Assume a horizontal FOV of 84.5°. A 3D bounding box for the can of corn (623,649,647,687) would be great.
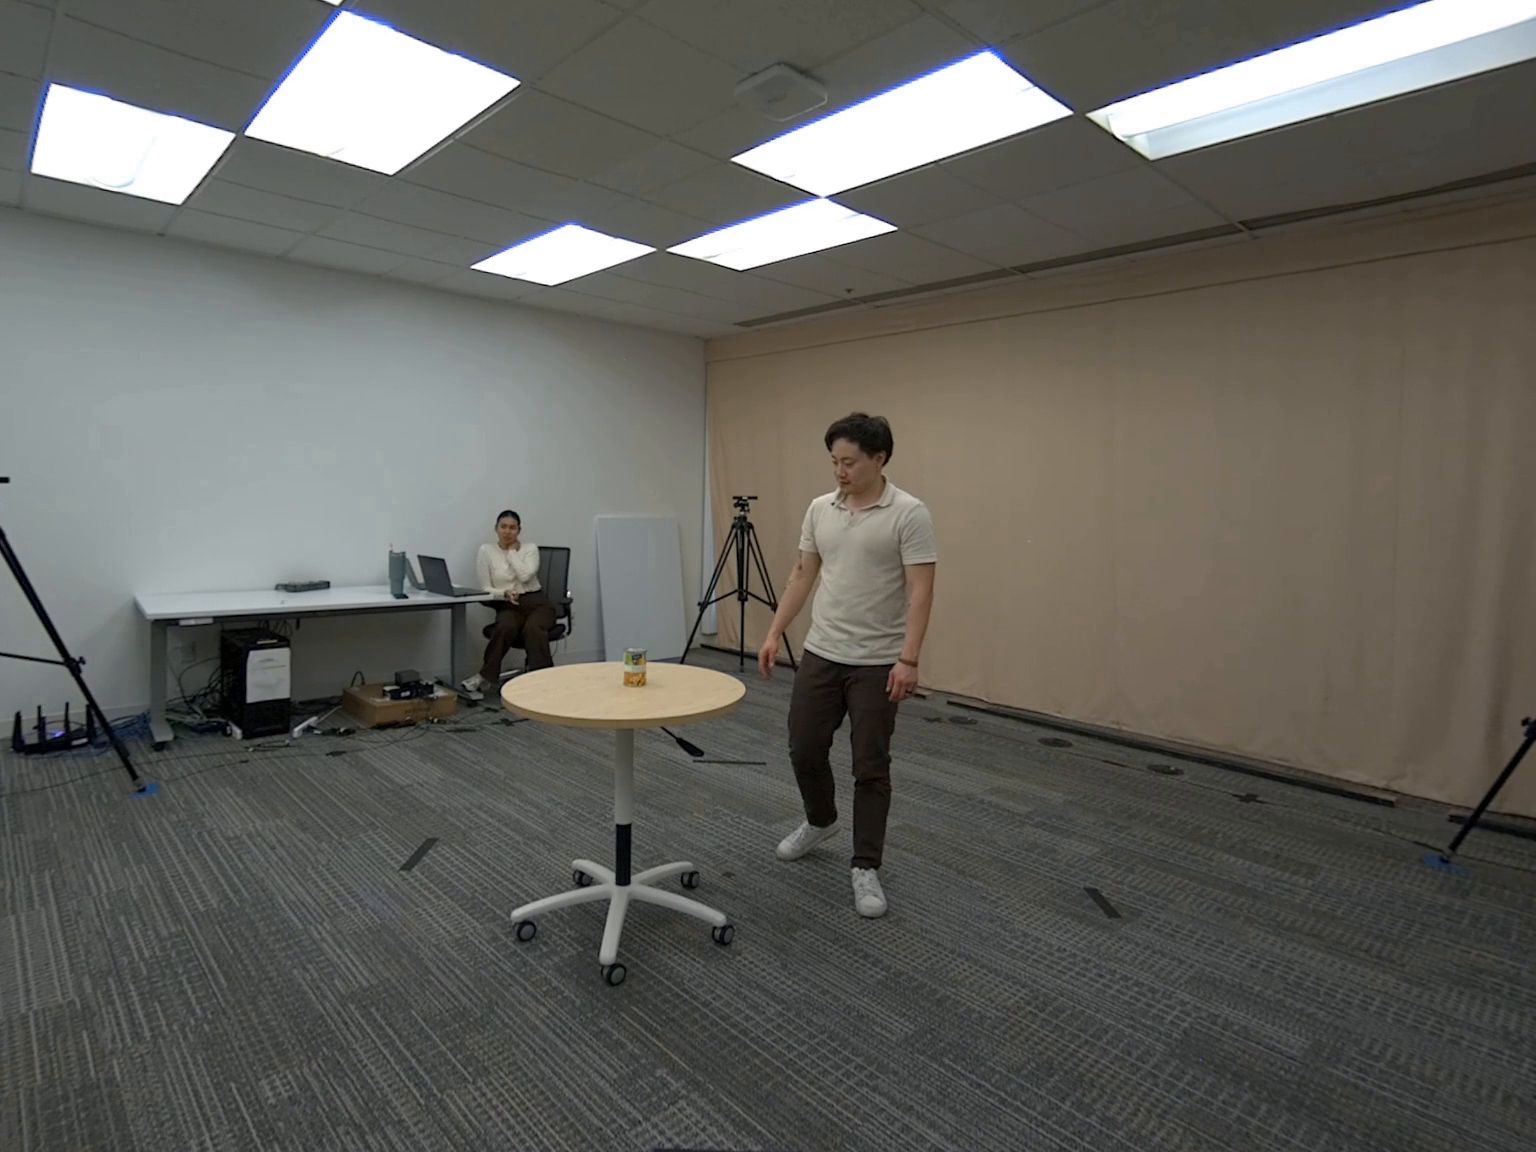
[{"bbox_3d":[-0.434,0.292,2.701,0.074,0.111,0.074,0,5,-1],"label":"can of corn"}]
